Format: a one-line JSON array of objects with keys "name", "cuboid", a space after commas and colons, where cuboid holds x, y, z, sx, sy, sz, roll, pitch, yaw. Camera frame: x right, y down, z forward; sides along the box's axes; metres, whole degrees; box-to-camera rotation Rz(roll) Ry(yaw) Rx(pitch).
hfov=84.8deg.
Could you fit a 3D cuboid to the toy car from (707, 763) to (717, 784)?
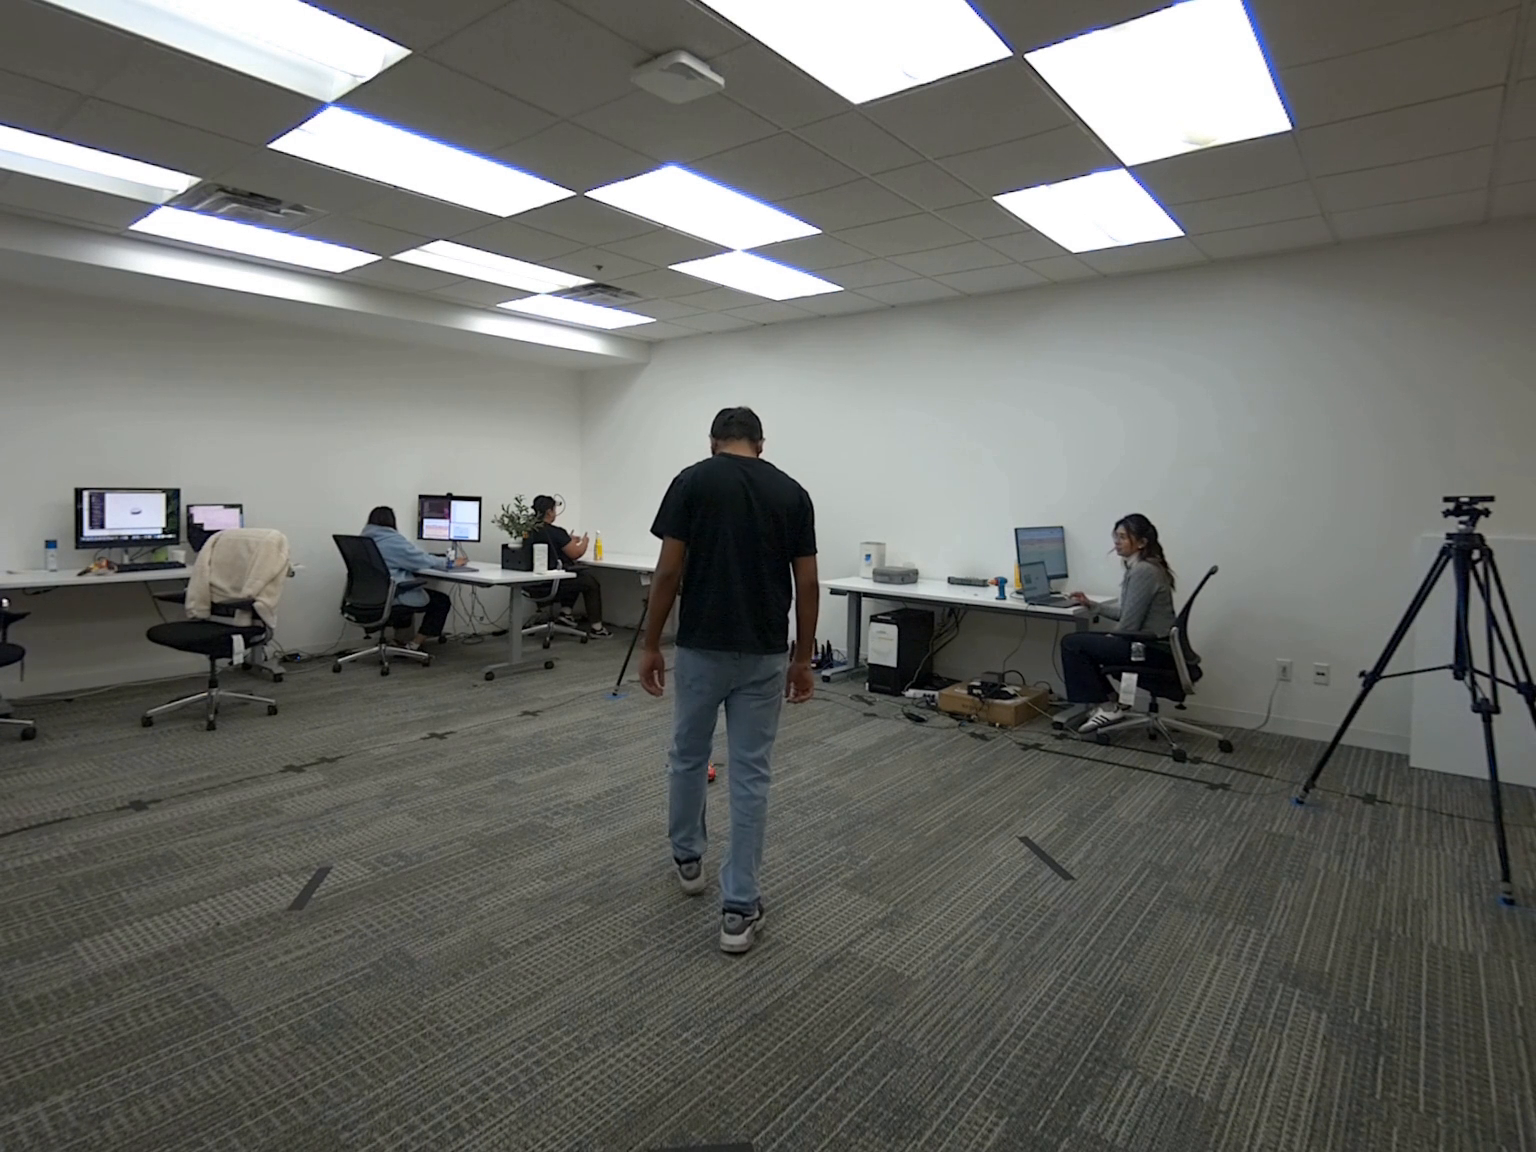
[{"name": "toy car", "cuboid": [-0.325, 0.932, 4.116, 0.129, 0.084, 0.255, 1, -5, -9]}]
